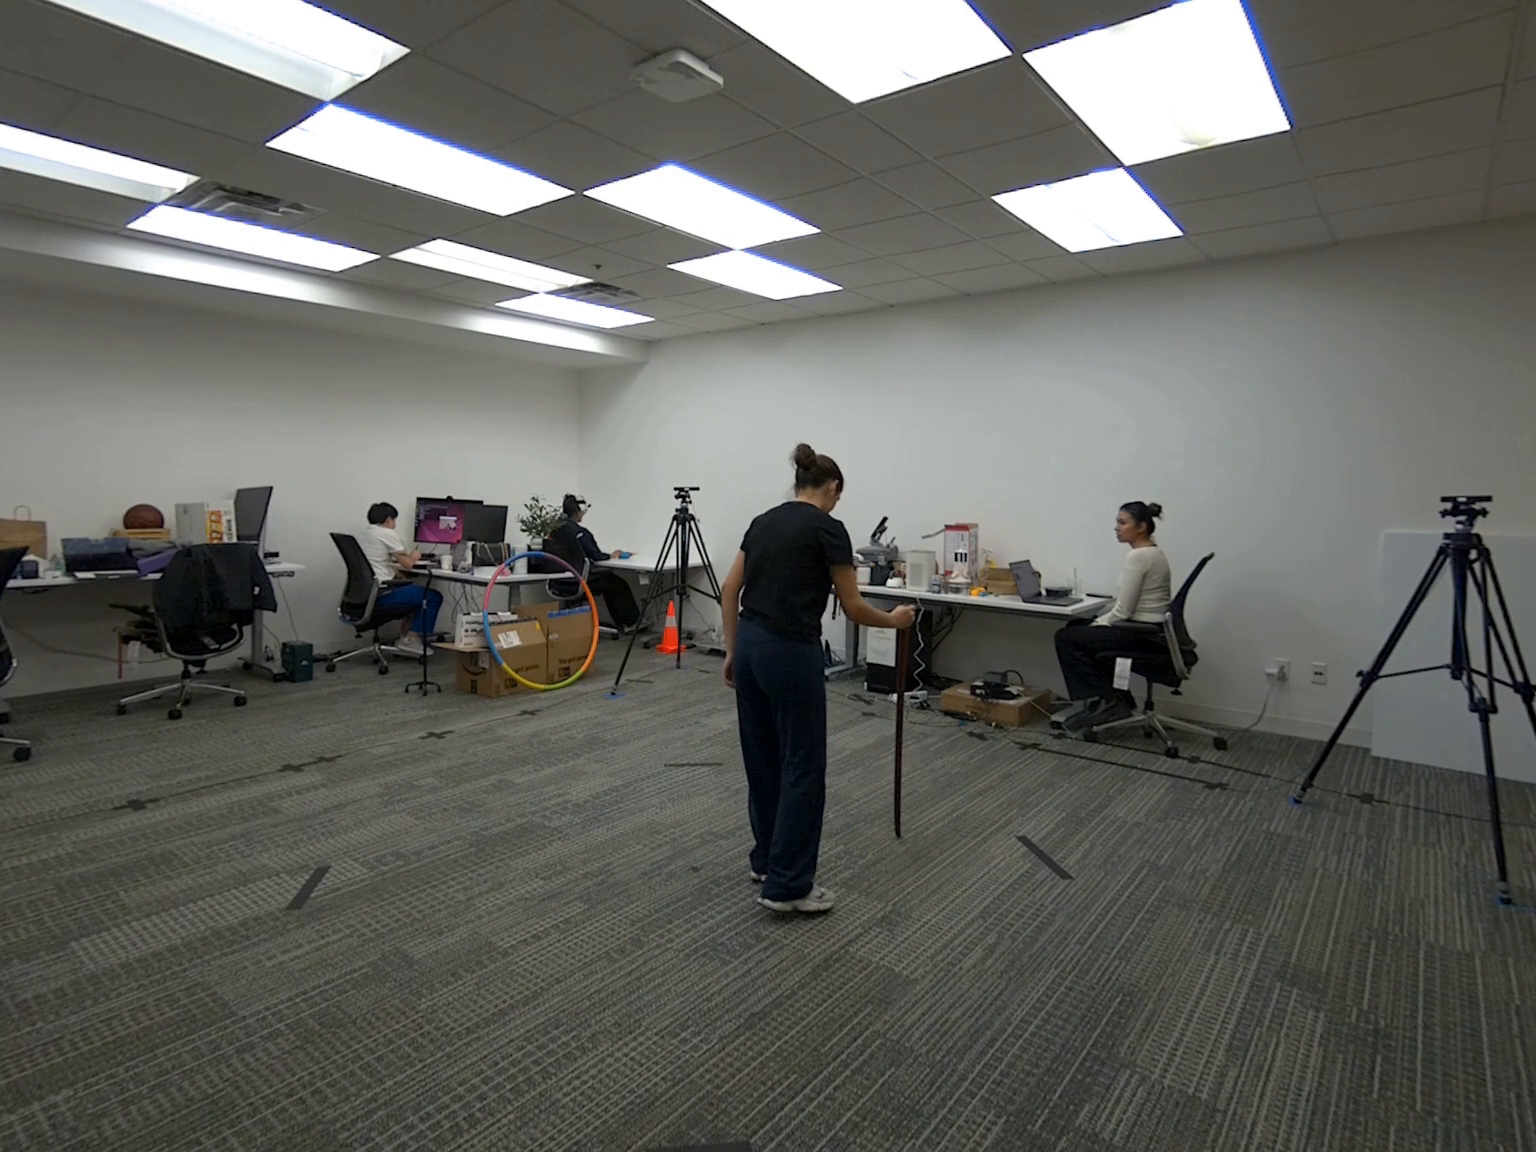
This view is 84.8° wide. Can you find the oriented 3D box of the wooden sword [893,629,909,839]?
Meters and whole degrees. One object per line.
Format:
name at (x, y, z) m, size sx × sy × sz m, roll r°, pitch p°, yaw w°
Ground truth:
wooden sword at (0.509, 0.587, 3.248) m, size 0.024 × 1.005 × 0.052 m, roll 0°, pitch 20°, yaw 8°
